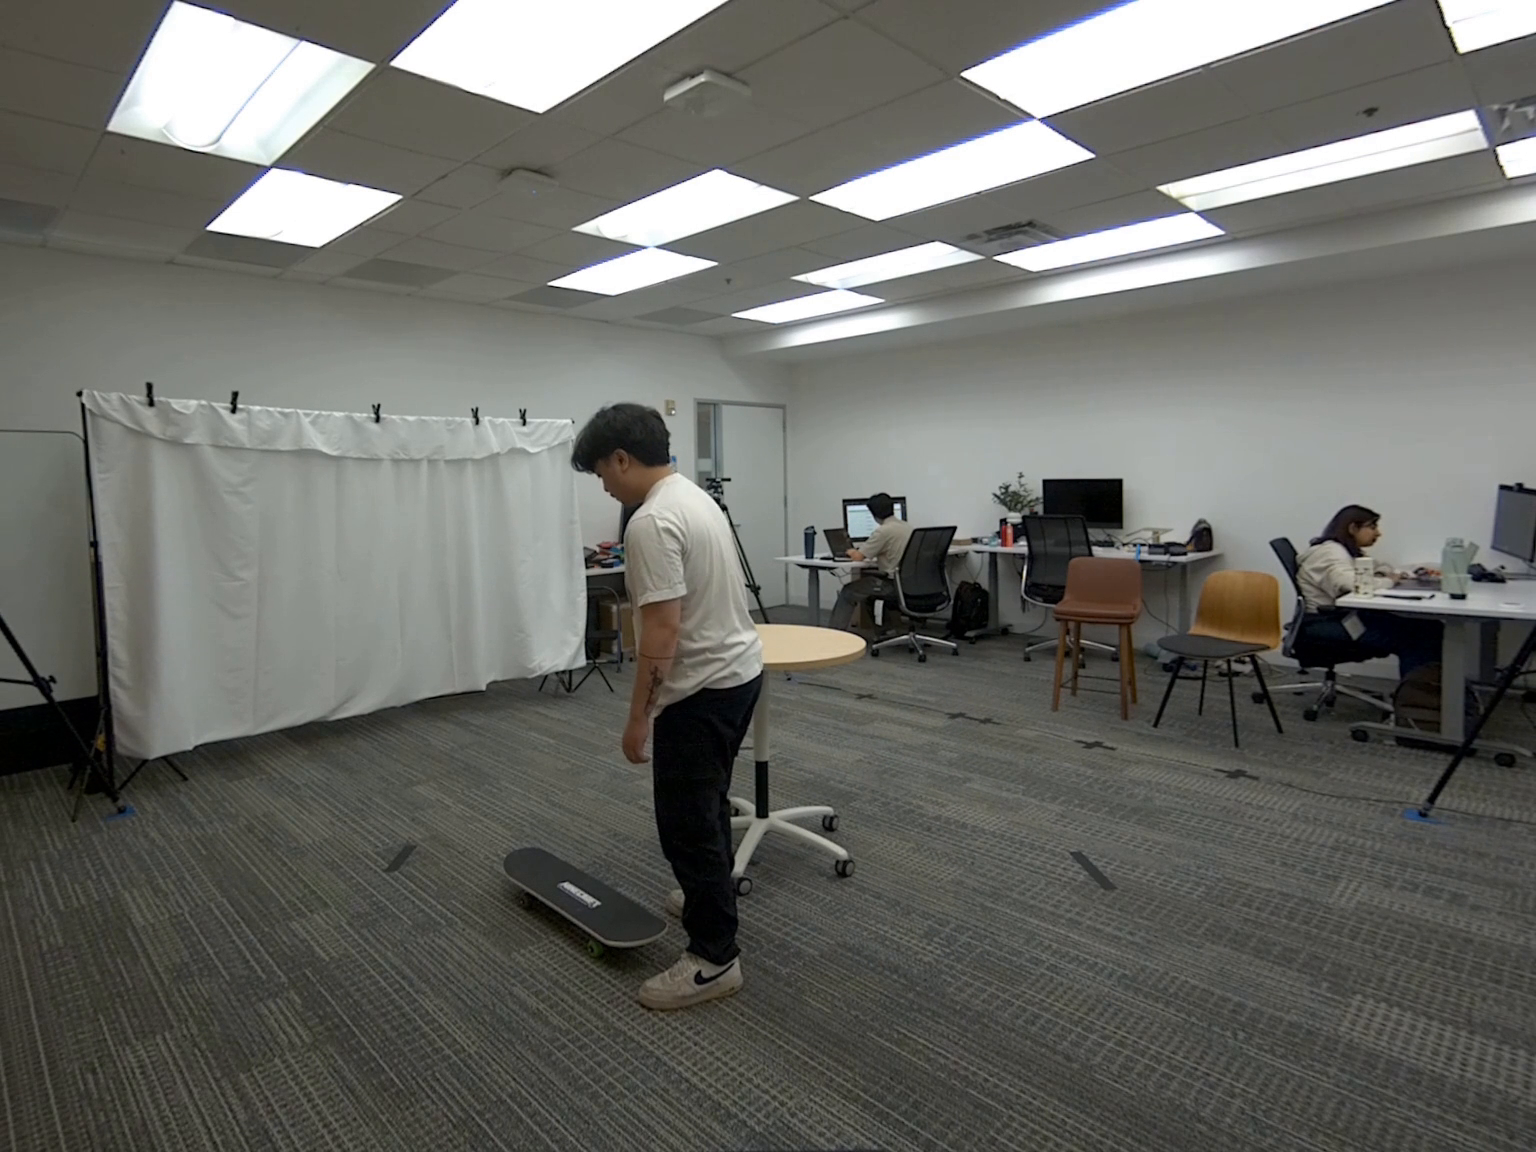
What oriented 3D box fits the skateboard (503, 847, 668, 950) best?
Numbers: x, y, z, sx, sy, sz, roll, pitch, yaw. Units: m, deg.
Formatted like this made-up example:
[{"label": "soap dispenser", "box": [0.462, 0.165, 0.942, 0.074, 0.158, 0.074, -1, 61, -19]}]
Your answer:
[{"label": "skateboard", "box": [-0.598, 1.052, 2.703, 0.188, 0.110, 0.810, -8, 9, -44]}]
